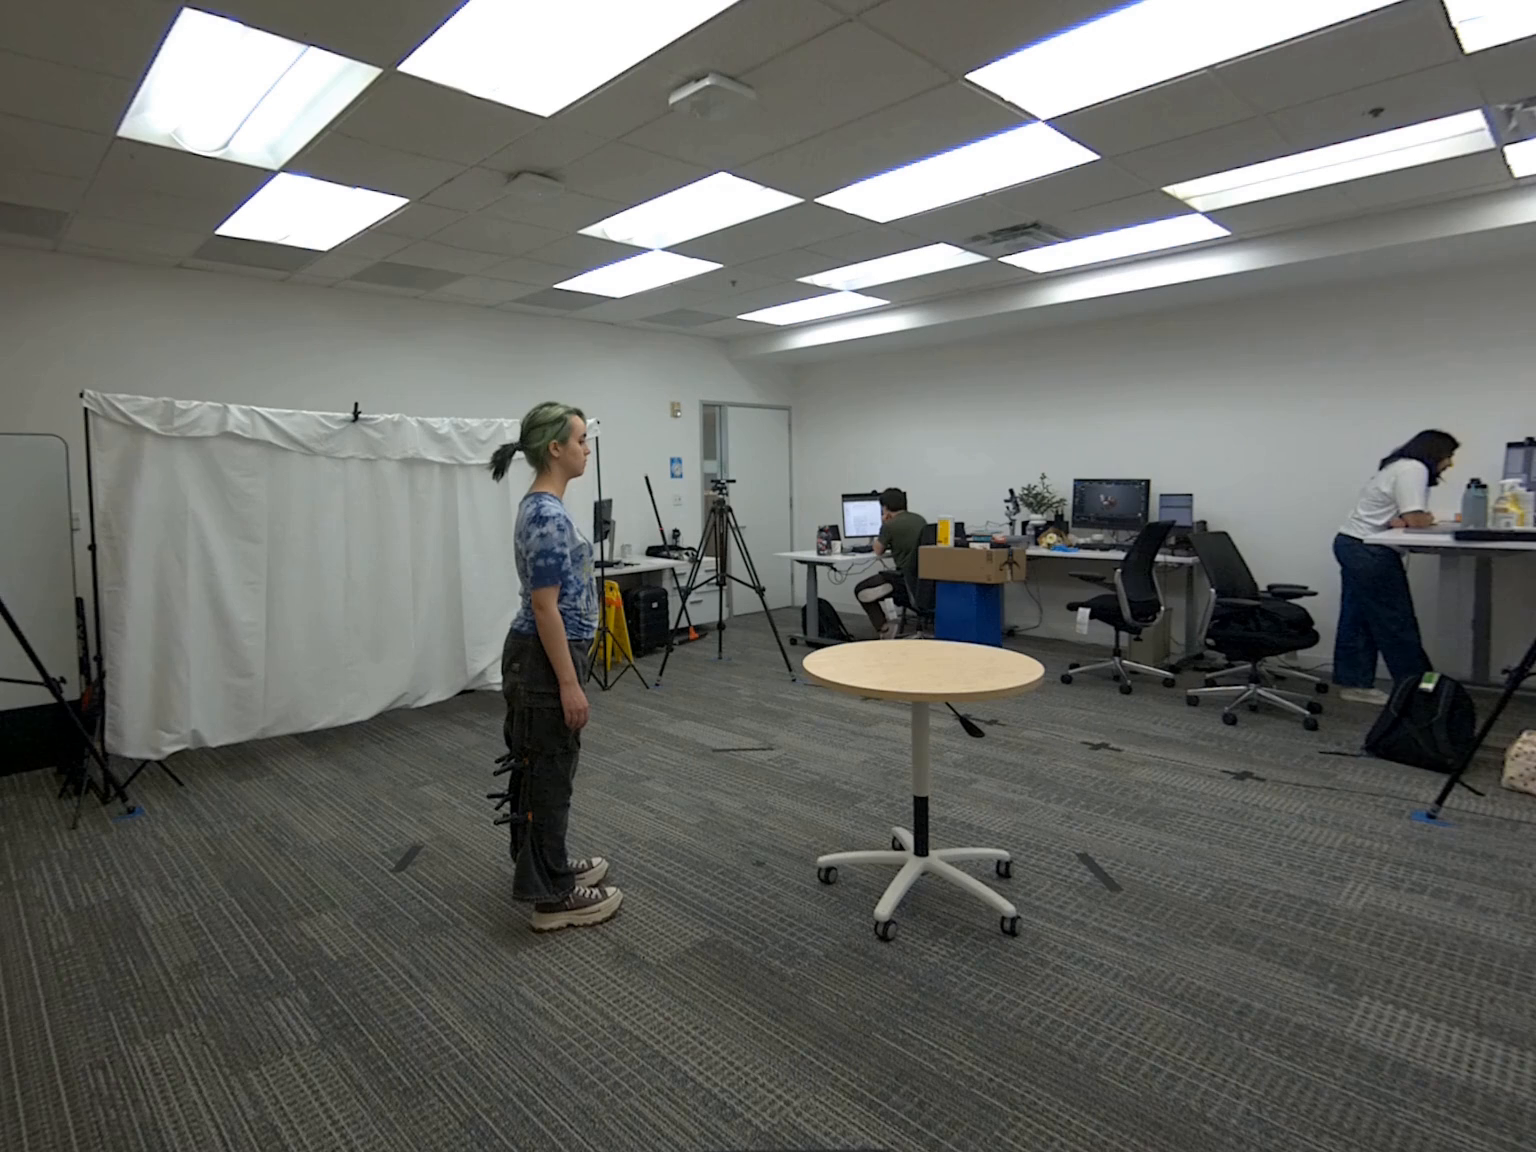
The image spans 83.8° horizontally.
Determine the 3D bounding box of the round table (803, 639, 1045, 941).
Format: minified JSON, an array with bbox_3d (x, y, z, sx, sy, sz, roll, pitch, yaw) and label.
[{"bbox_3d":[0.501,0.677,2.823,0.784,0.783,0.789,-2,5,-2],"label":"round table"}]
